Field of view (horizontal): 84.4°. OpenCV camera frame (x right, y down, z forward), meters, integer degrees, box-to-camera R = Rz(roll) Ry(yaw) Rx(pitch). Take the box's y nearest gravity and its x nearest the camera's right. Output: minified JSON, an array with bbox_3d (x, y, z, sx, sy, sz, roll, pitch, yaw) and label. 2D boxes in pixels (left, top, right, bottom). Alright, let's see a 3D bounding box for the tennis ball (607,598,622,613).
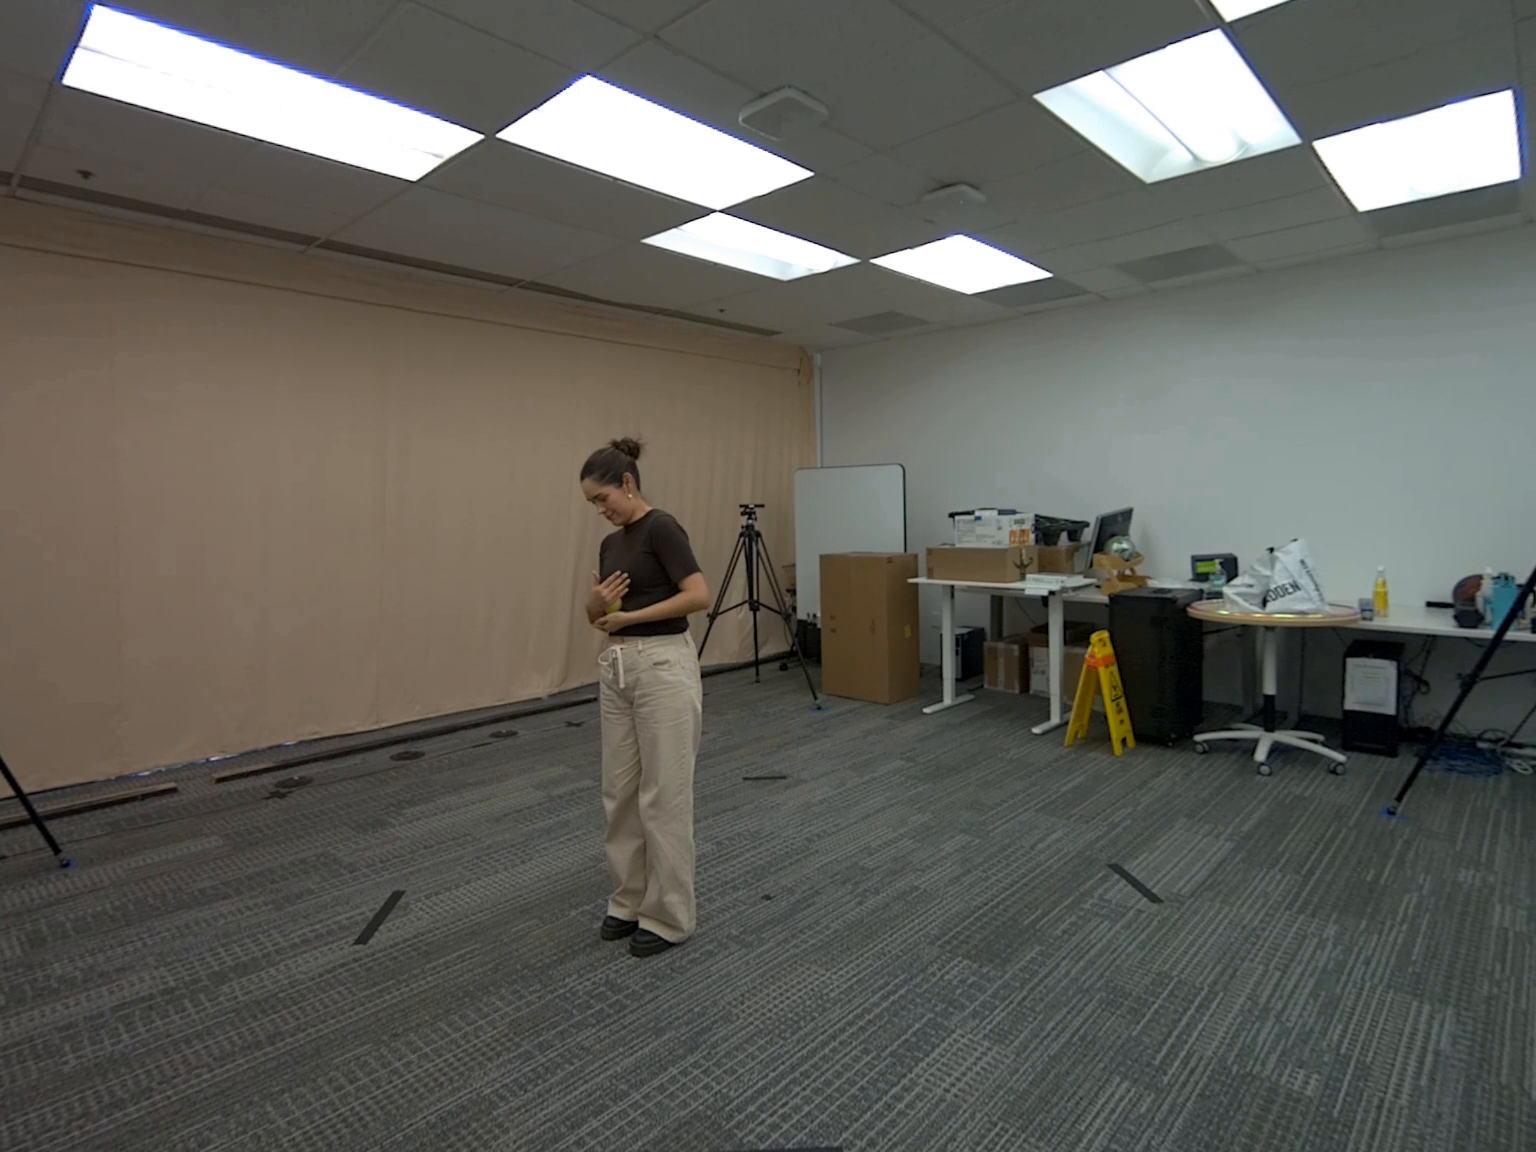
[{"bbox_3d":[-0.487,0.090,2.692,0.066,0.066,0.067,-1,4,-2],"label":"tennis ball"}]
